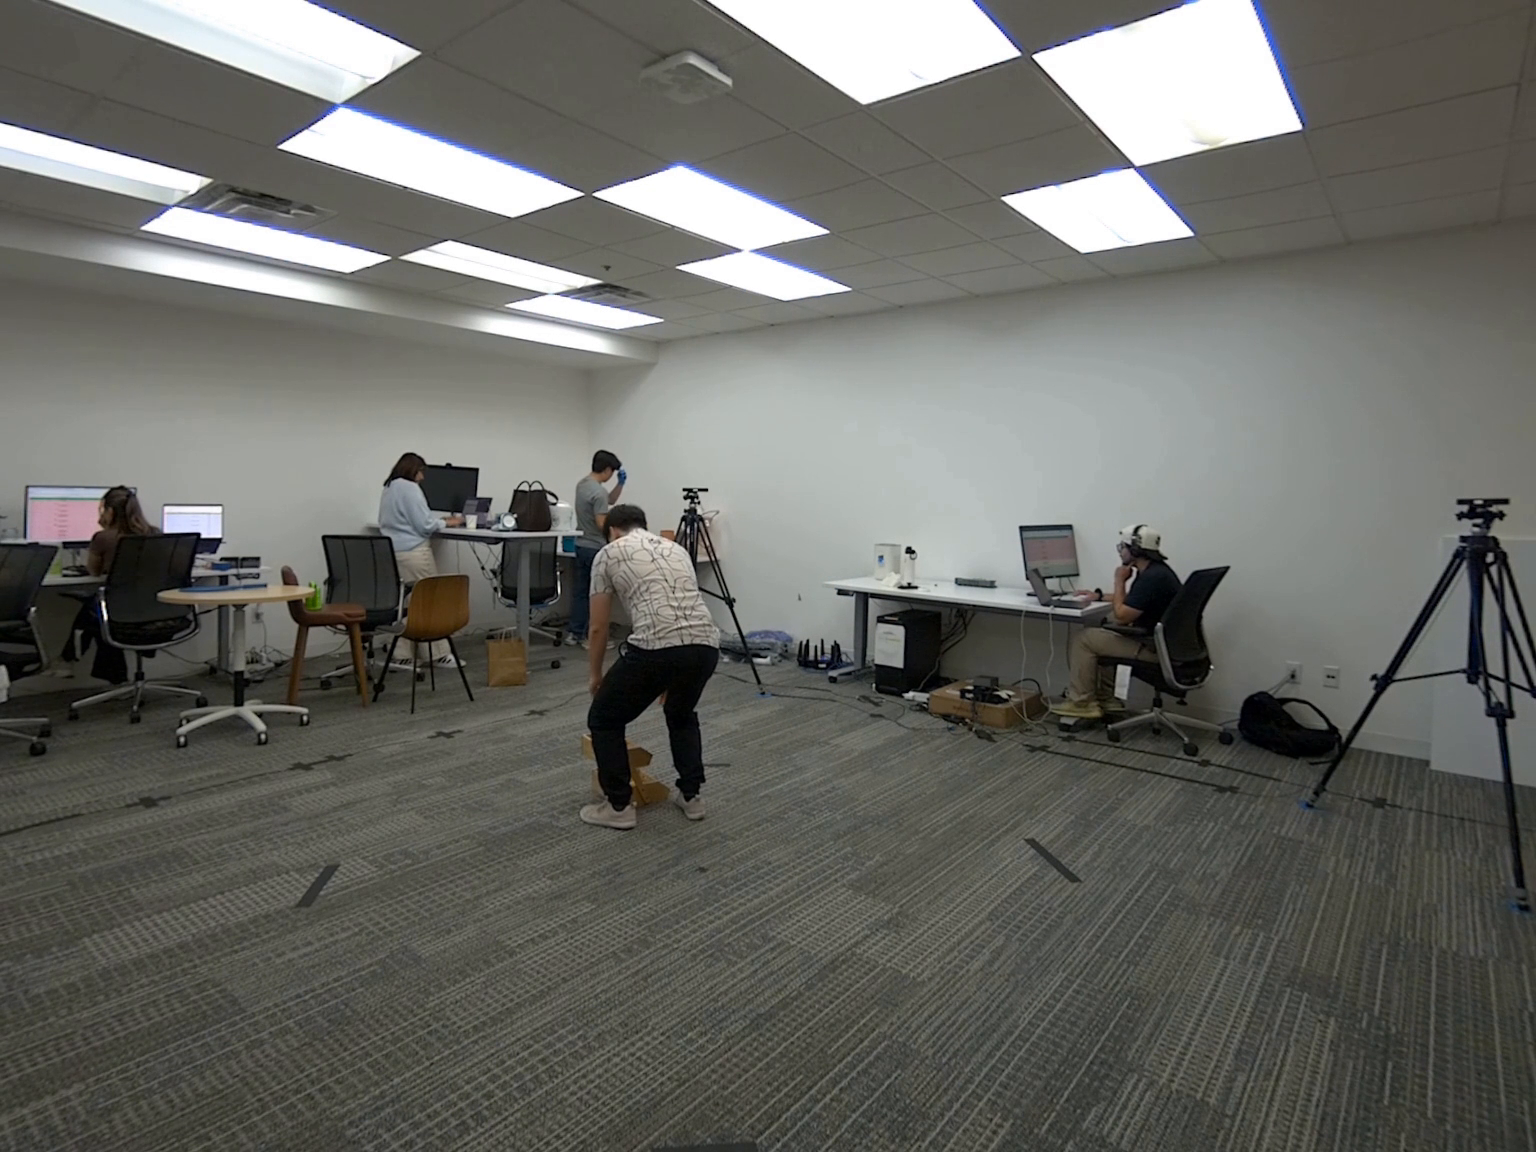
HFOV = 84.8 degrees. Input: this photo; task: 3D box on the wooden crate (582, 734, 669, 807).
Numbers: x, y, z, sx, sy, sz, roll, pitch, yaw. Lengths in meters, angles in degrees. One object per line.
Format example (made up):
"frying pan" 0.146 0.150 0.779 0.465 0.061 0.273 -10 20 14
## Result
"wooden crate" -0.652 0.855 3.854 0.293 0.272 0.335 -3 5 -35
